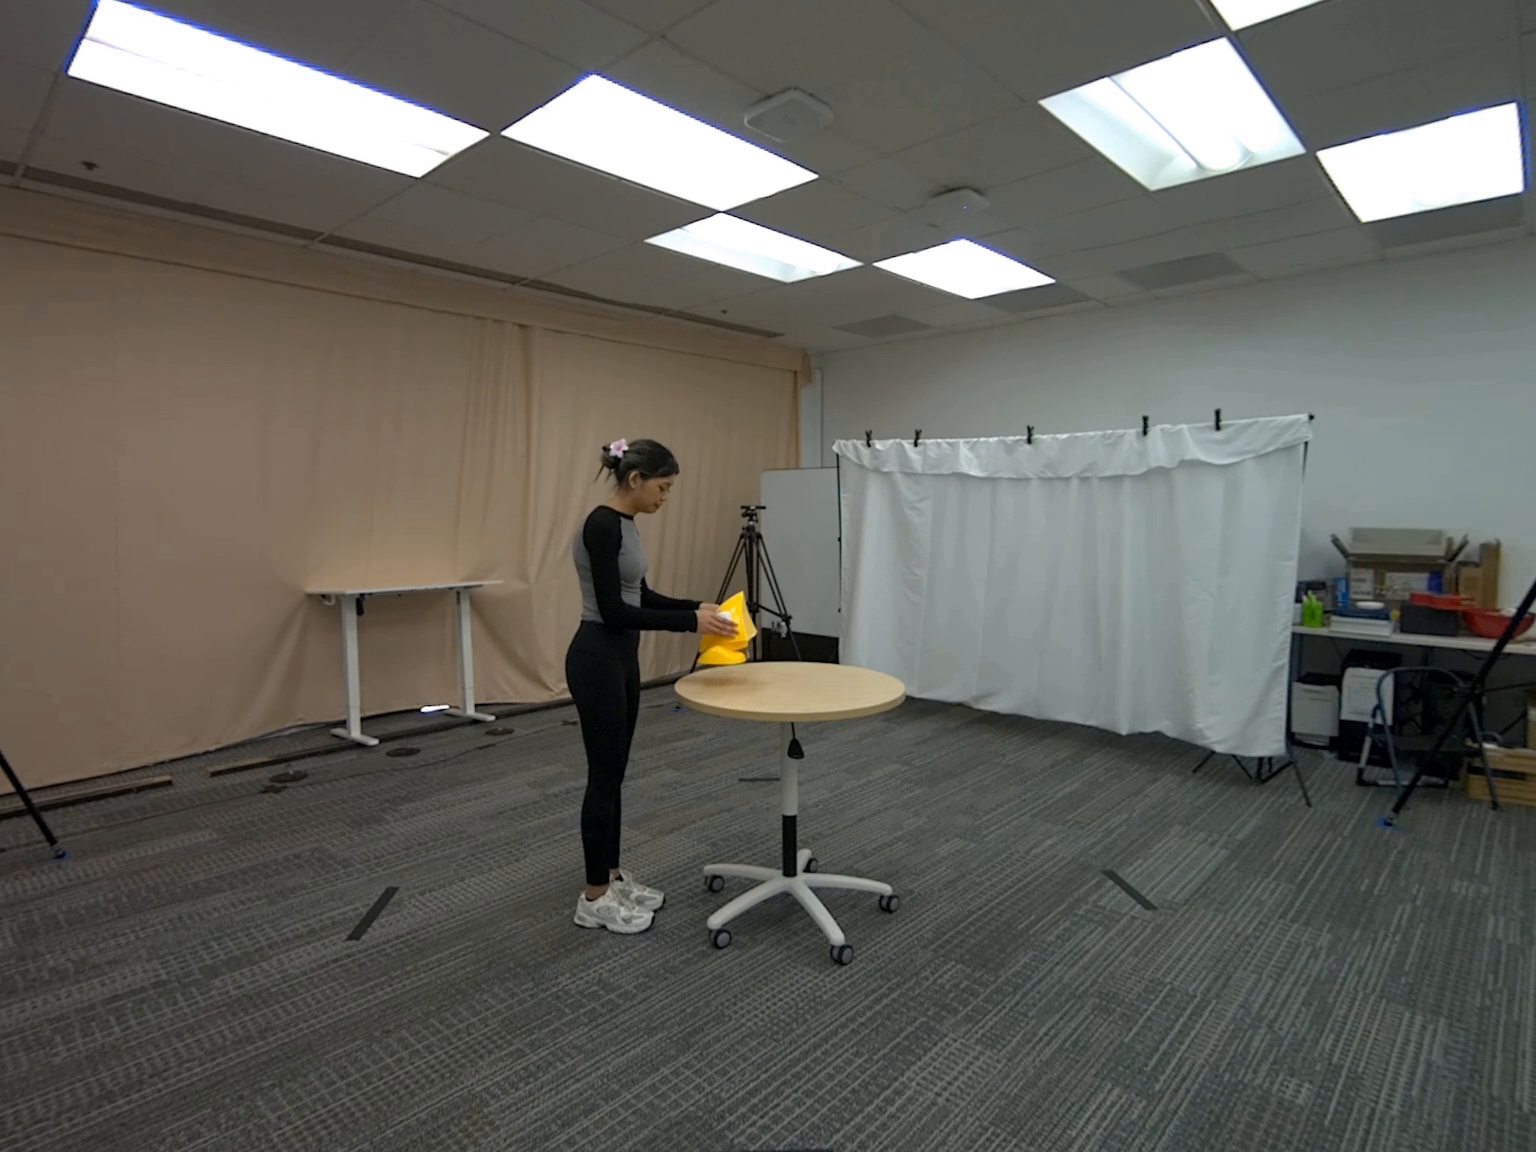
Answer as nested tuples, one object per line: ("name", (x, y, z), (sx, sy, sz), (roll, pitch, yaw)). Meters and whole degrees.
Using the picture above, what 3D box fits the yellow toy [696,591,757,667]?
("yellow toy", (-0.139, 0.169, 2.842), (0.195, 0.230, 0.202), (0, 2, 10))
